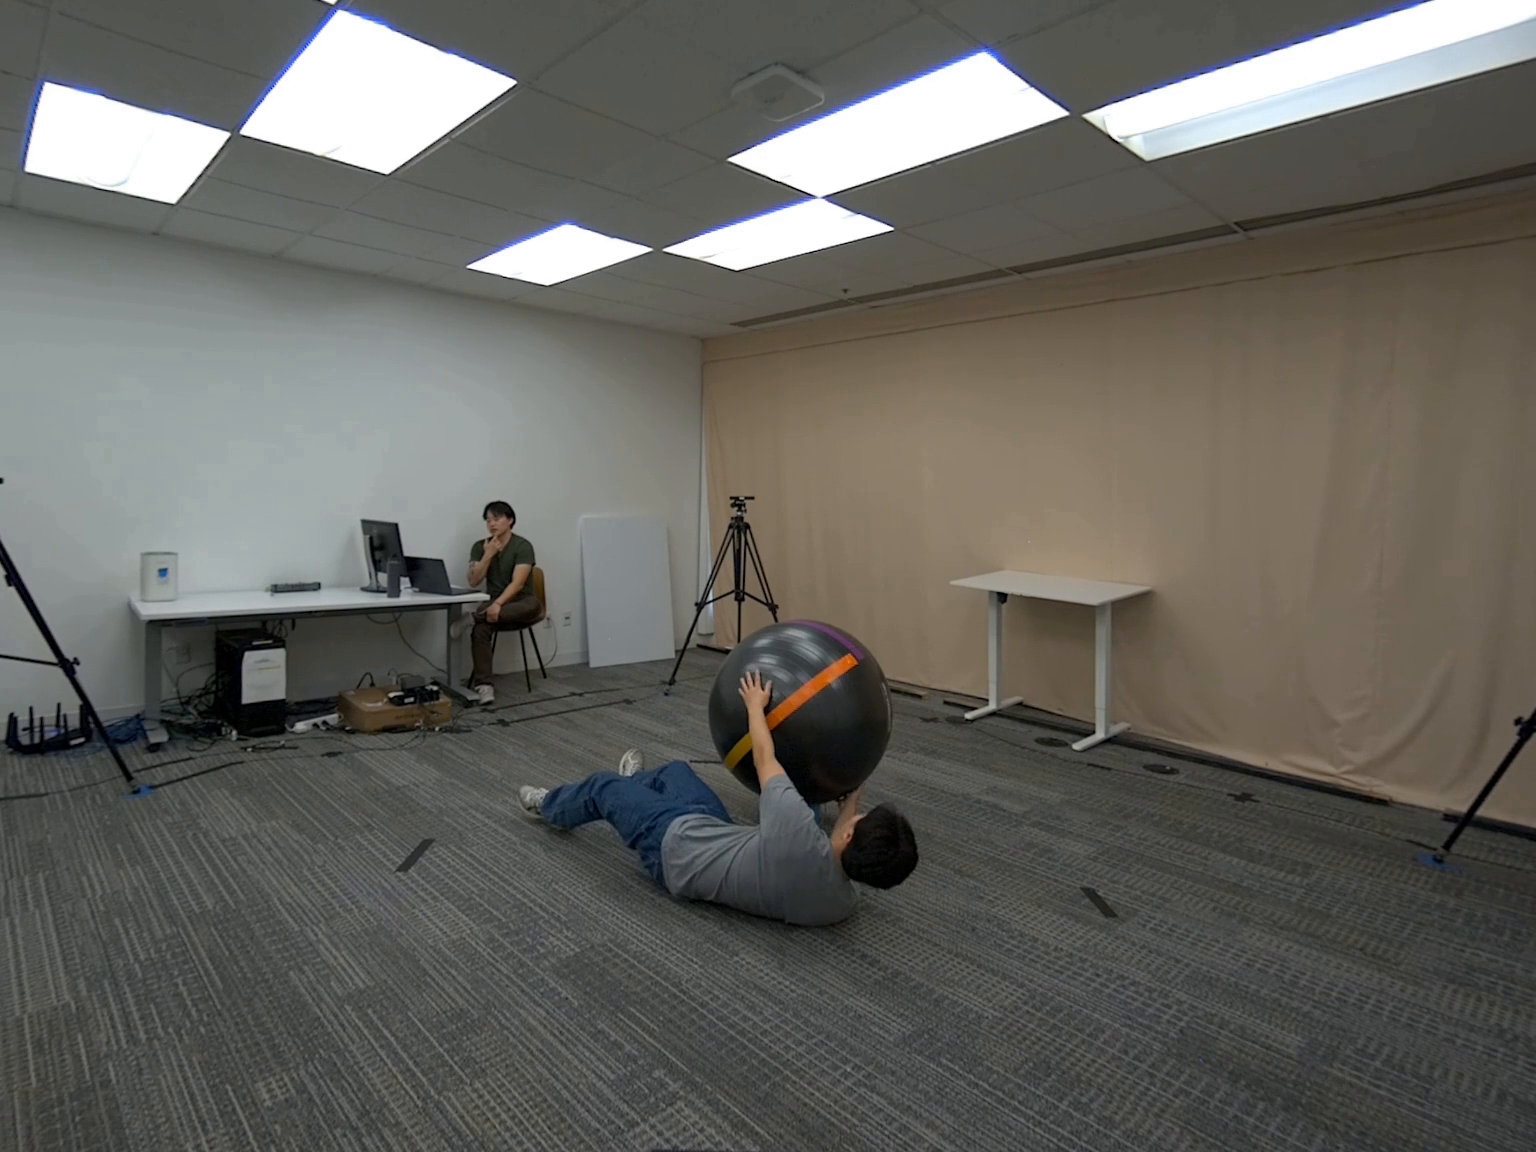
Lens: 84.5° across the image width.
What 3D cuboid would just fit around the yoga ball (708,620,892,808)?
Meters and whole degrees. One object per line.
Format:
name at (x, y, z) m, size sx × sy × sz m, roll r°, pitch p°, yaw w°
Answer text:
yoga ball at (0.134, 0.562, 3.502) m, size 0.757 × 0.756 × 0.761 m, roll 1°, pitch 4°, yaw -1°
